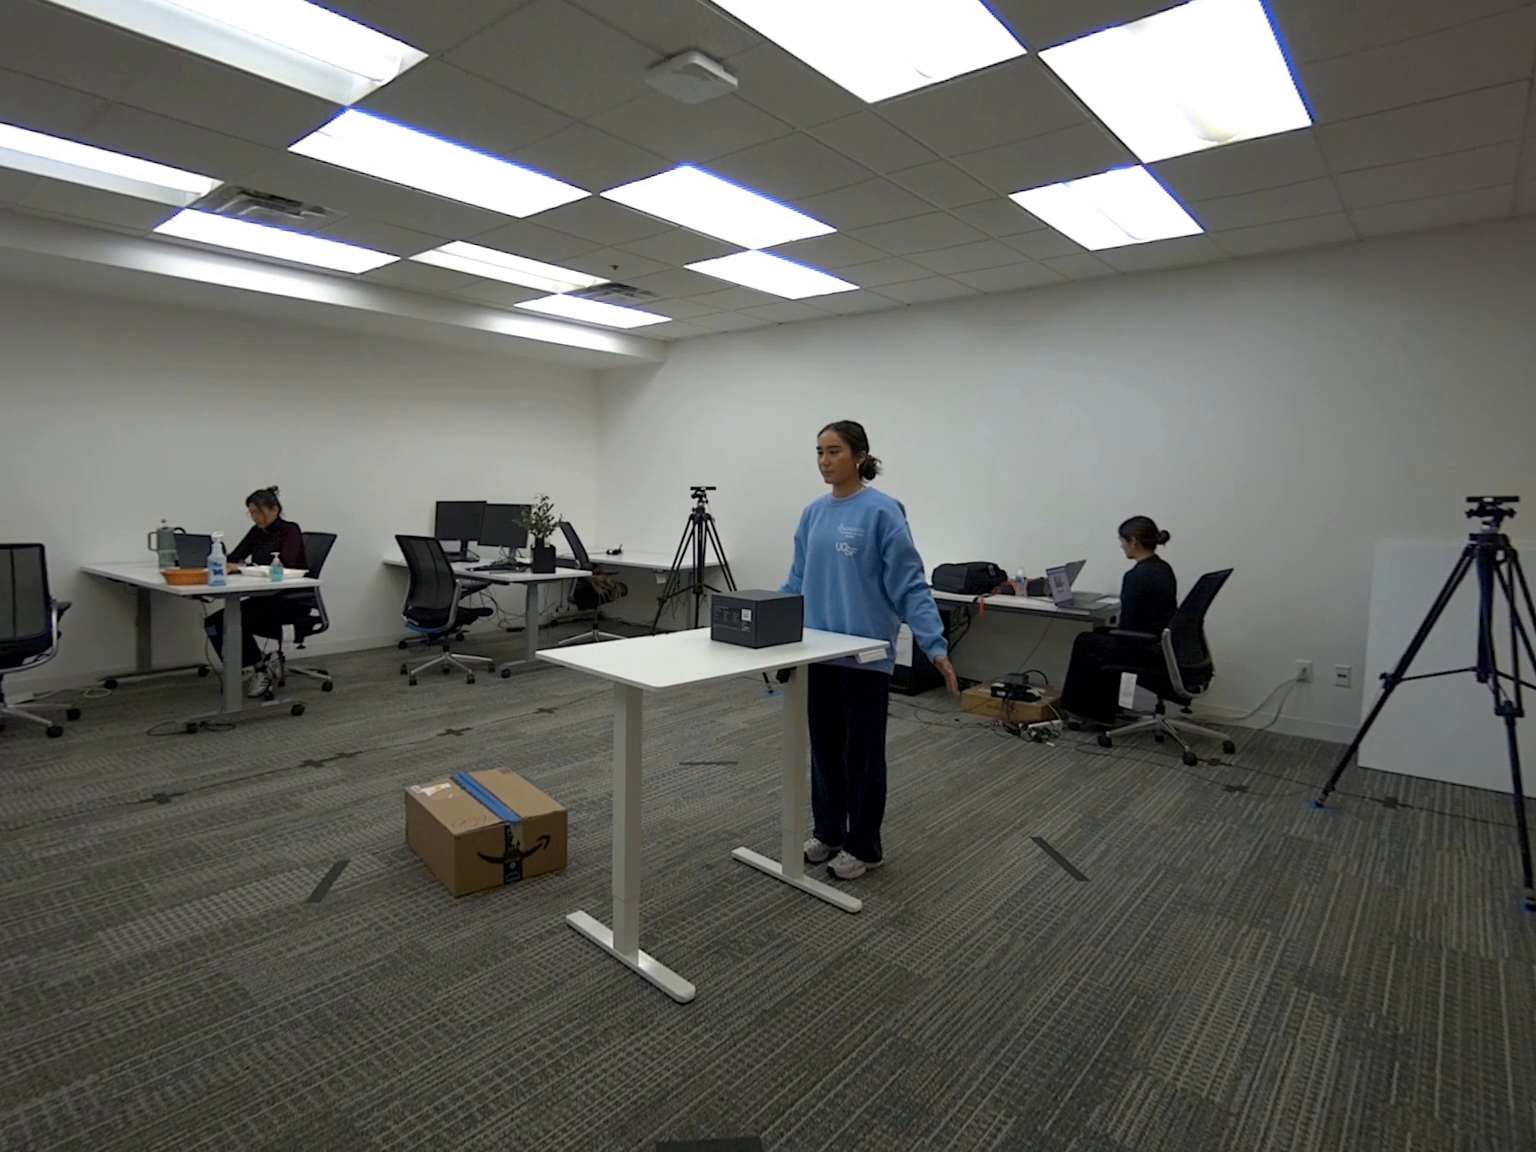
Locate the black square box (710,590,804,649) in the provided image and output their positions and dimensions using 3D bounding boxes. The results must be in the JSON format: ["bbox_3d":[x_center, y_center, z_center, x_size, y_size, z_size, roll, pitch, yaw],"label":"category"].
[{"bbox_3d":[-0.053,0.138,2.822,0.224,0.155,0.221,6,7,45],"label":"black square box"}]
